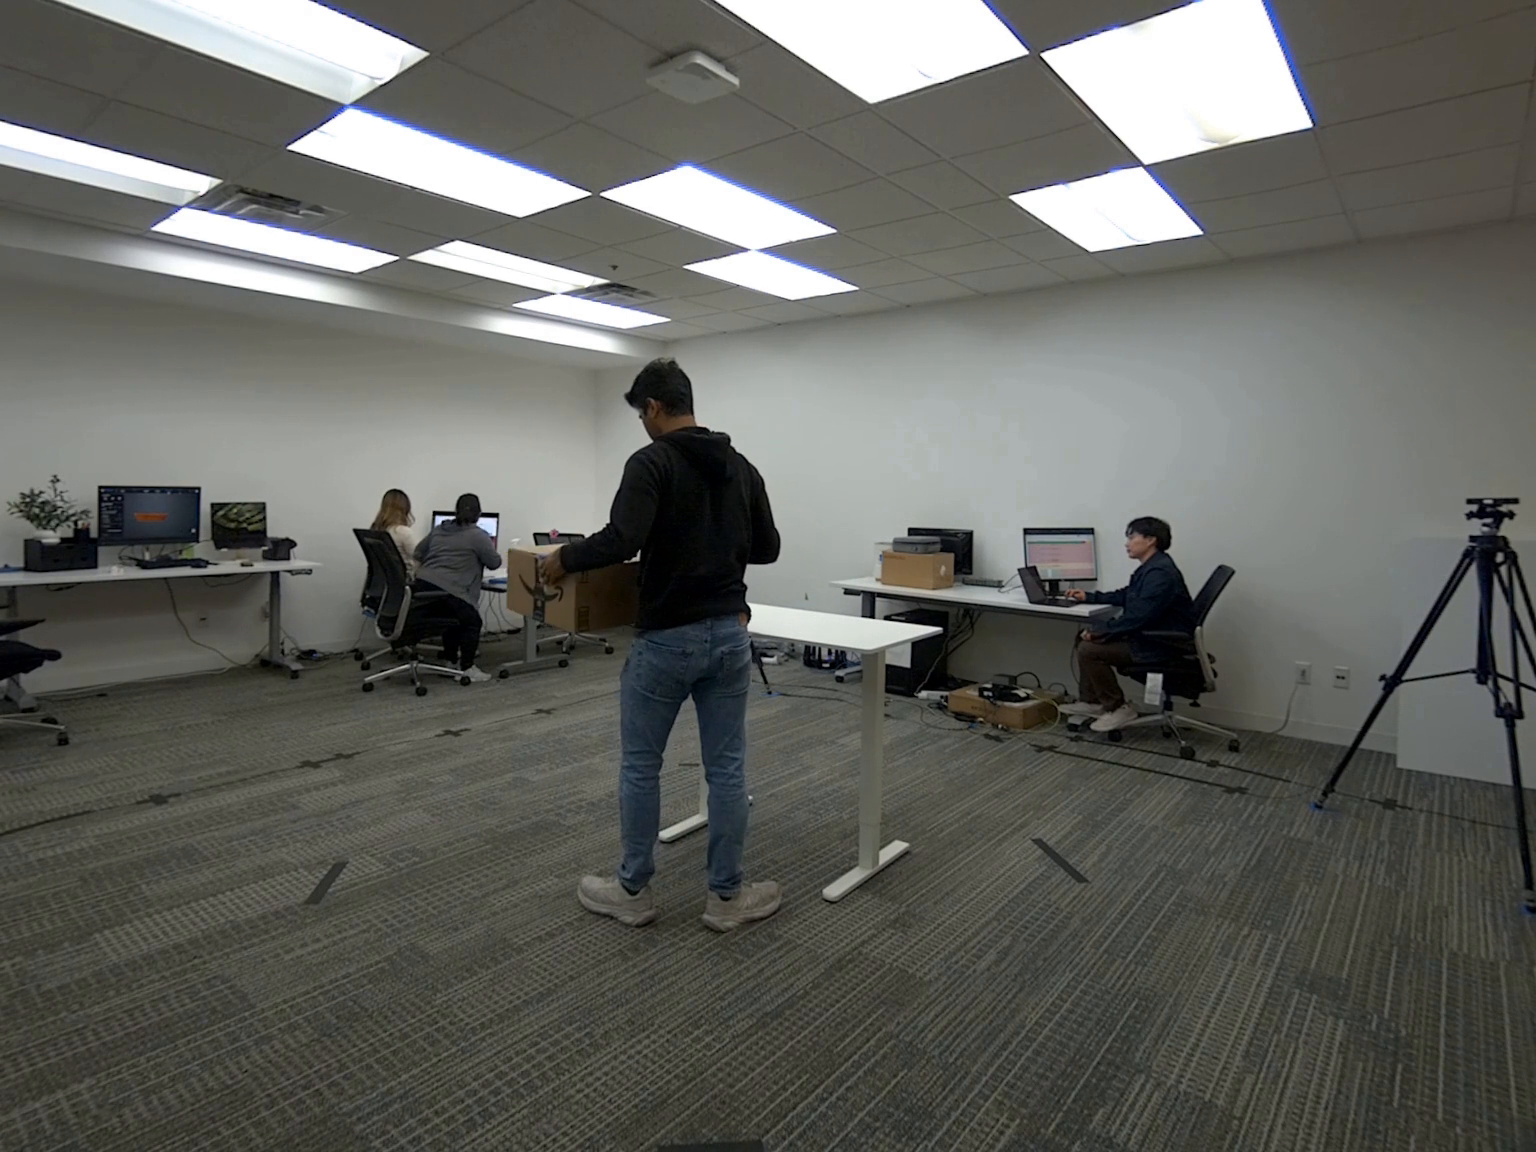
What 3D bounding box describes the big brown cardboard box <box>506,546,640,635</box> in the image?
[{"bbox_3d":[-0.563,0.019,2.983,0.433,0.231,0.573,12,14,42],"label":"big brown cardboard box"}]
